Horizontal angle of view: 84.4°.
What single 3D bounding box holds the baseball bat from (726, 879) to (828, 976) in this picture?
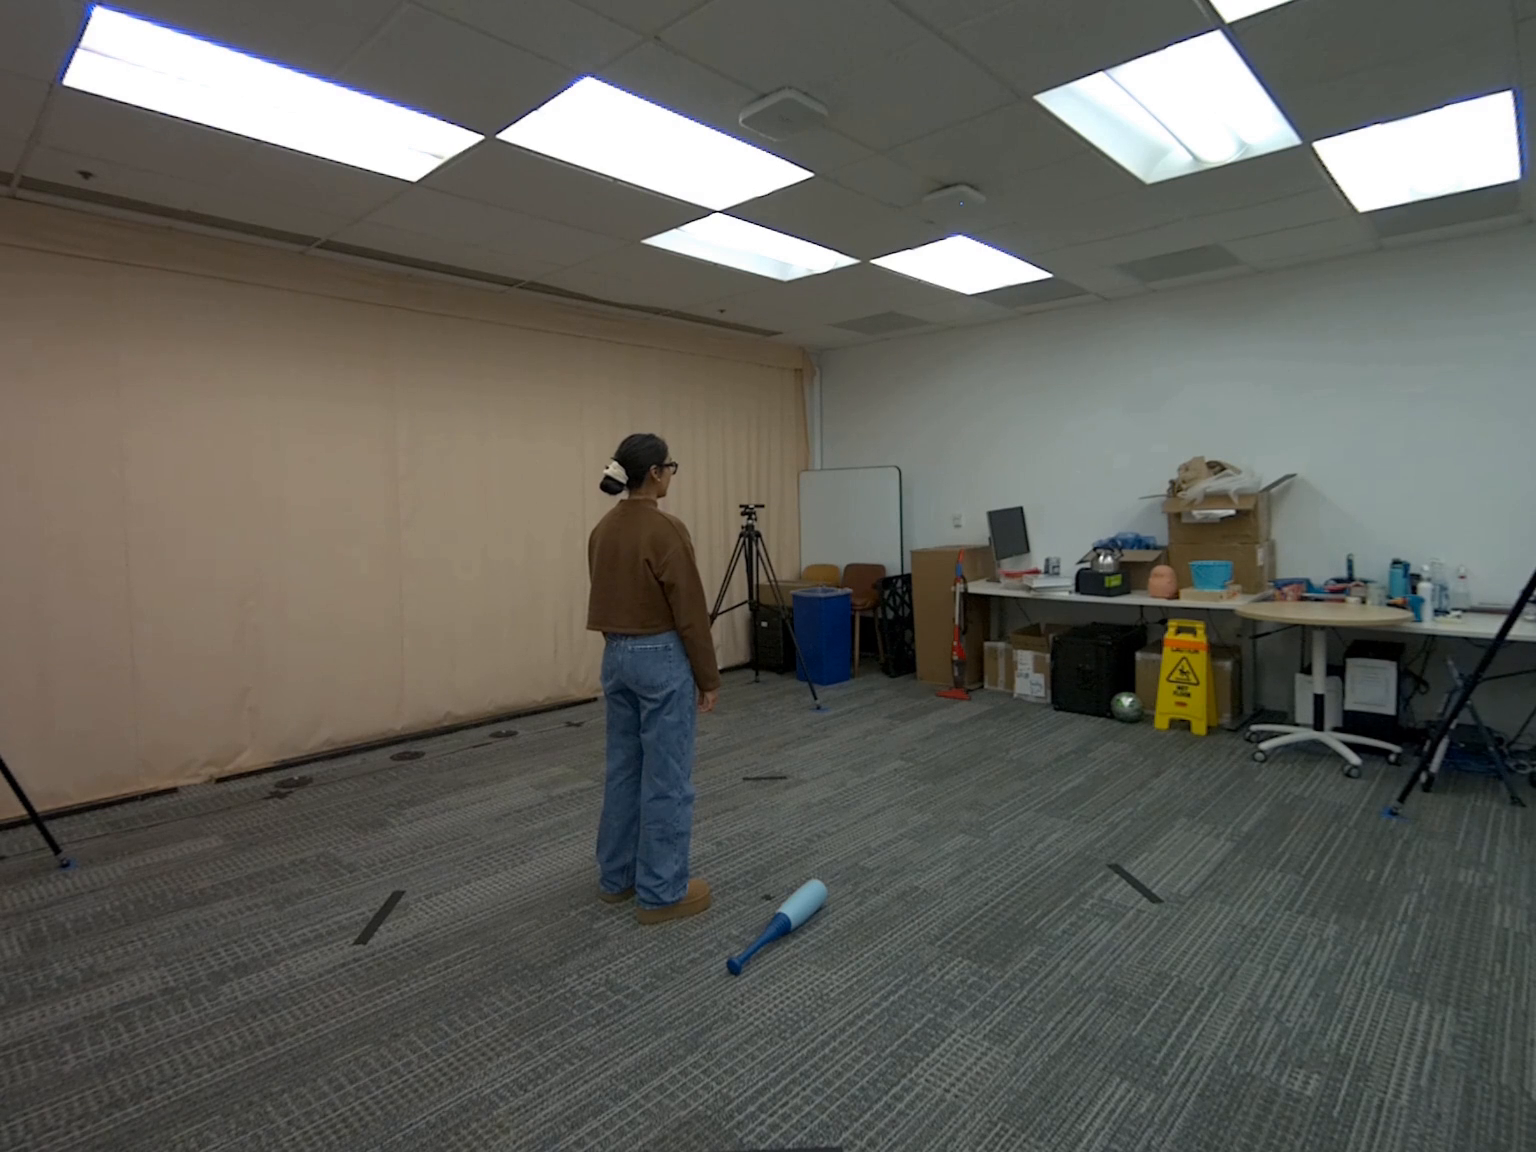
[{"bbox_3d":[0.041,1.128,2.707,0.092,0.089,0.529,2,8,33],"label":"baseball bat"}]
